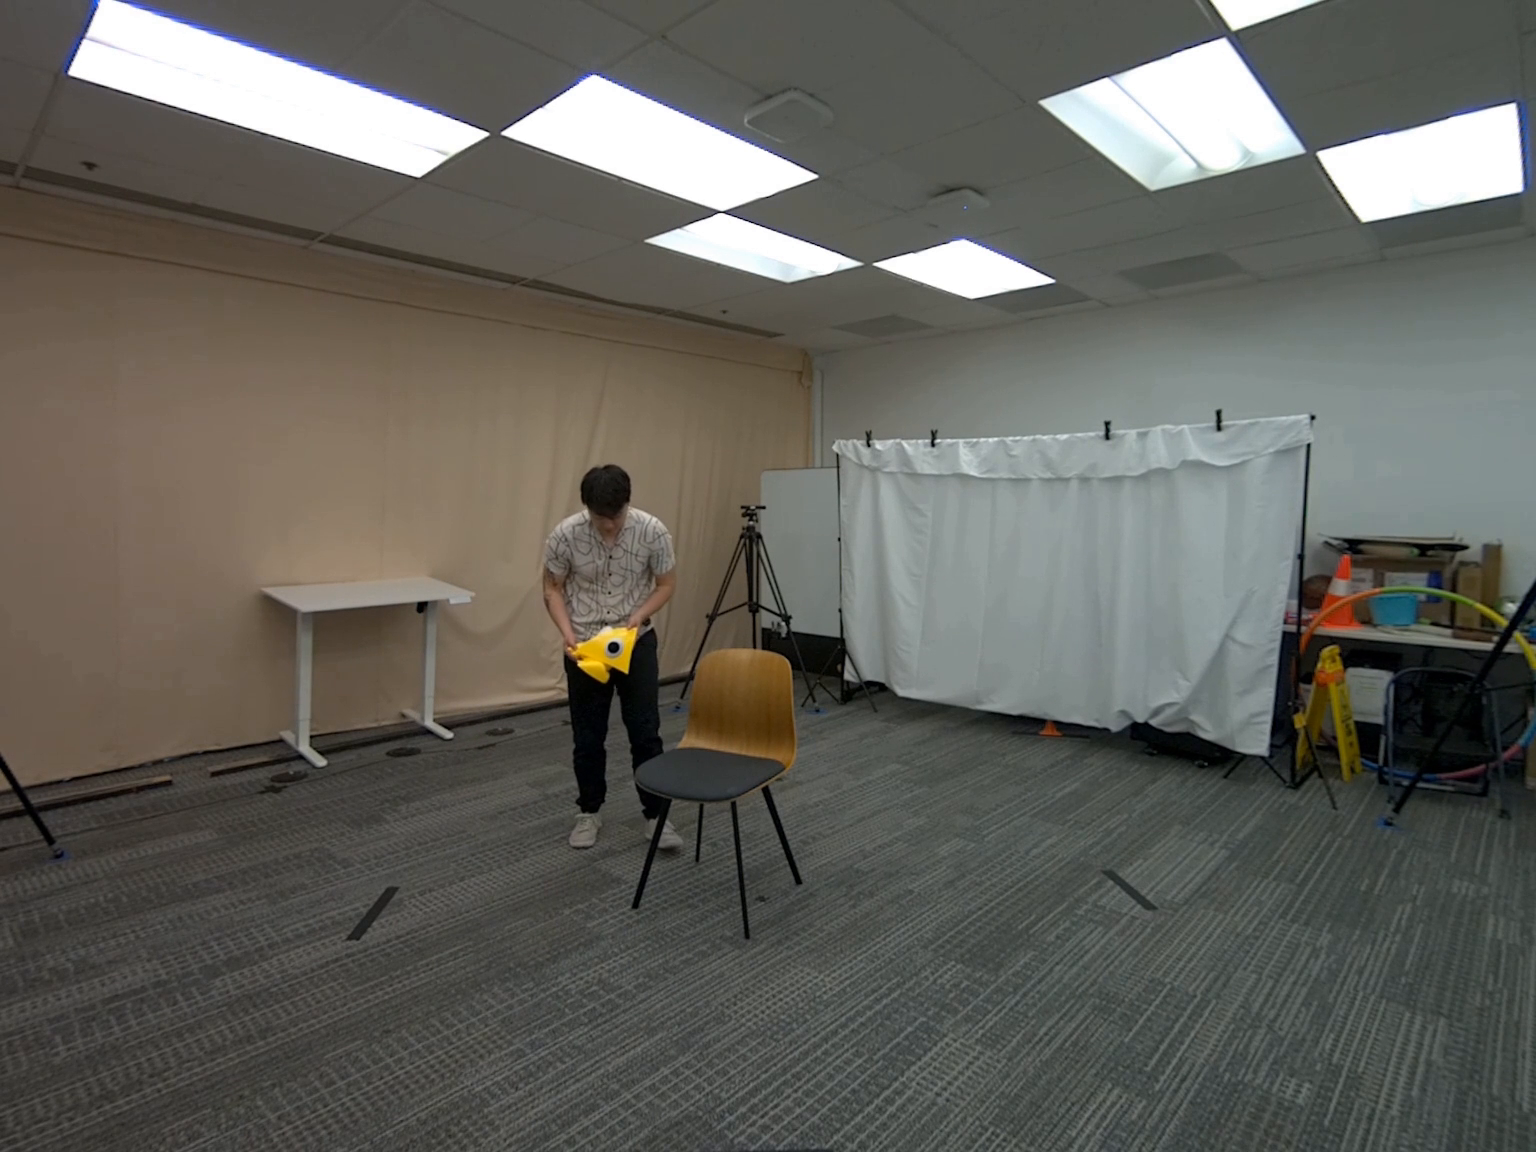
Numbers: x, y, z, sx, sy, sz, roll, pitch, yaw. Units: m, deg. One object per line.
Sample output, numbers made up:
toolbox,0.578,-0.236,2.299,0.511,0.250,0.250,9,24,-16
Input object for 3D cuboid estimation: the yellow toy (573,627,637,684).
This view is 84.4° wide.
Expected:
yellow toy,-0.623,0.269,3.291,0.186,0.231,0.212,38,3,-37
